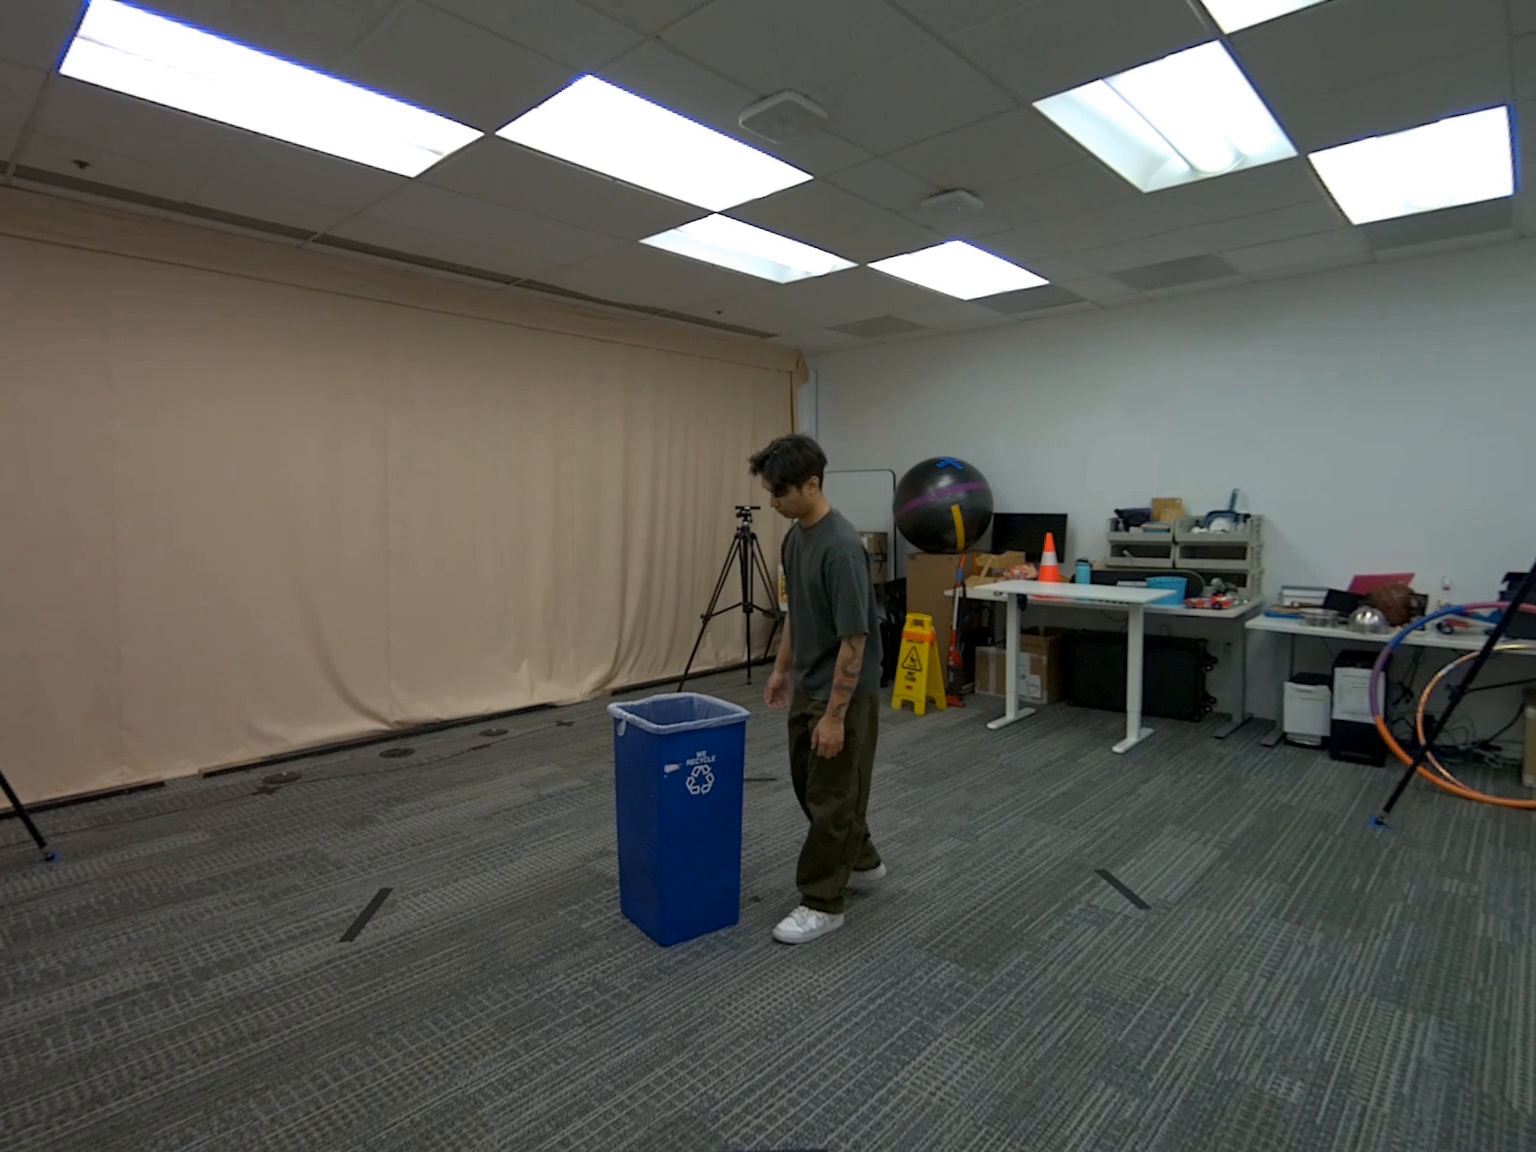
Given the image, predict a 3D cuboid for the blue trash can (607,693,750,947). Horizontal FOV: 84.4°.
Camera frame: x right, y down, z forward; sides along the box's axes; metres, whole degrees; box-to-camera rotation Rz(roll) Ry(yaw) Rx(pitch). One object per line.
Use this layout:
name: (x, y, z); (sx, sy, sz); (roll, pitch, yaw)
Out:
blue trash can: (-0.307, 0.802, 2.846); (0.367, 0.712, 0.386); (-2, 4, -37)
